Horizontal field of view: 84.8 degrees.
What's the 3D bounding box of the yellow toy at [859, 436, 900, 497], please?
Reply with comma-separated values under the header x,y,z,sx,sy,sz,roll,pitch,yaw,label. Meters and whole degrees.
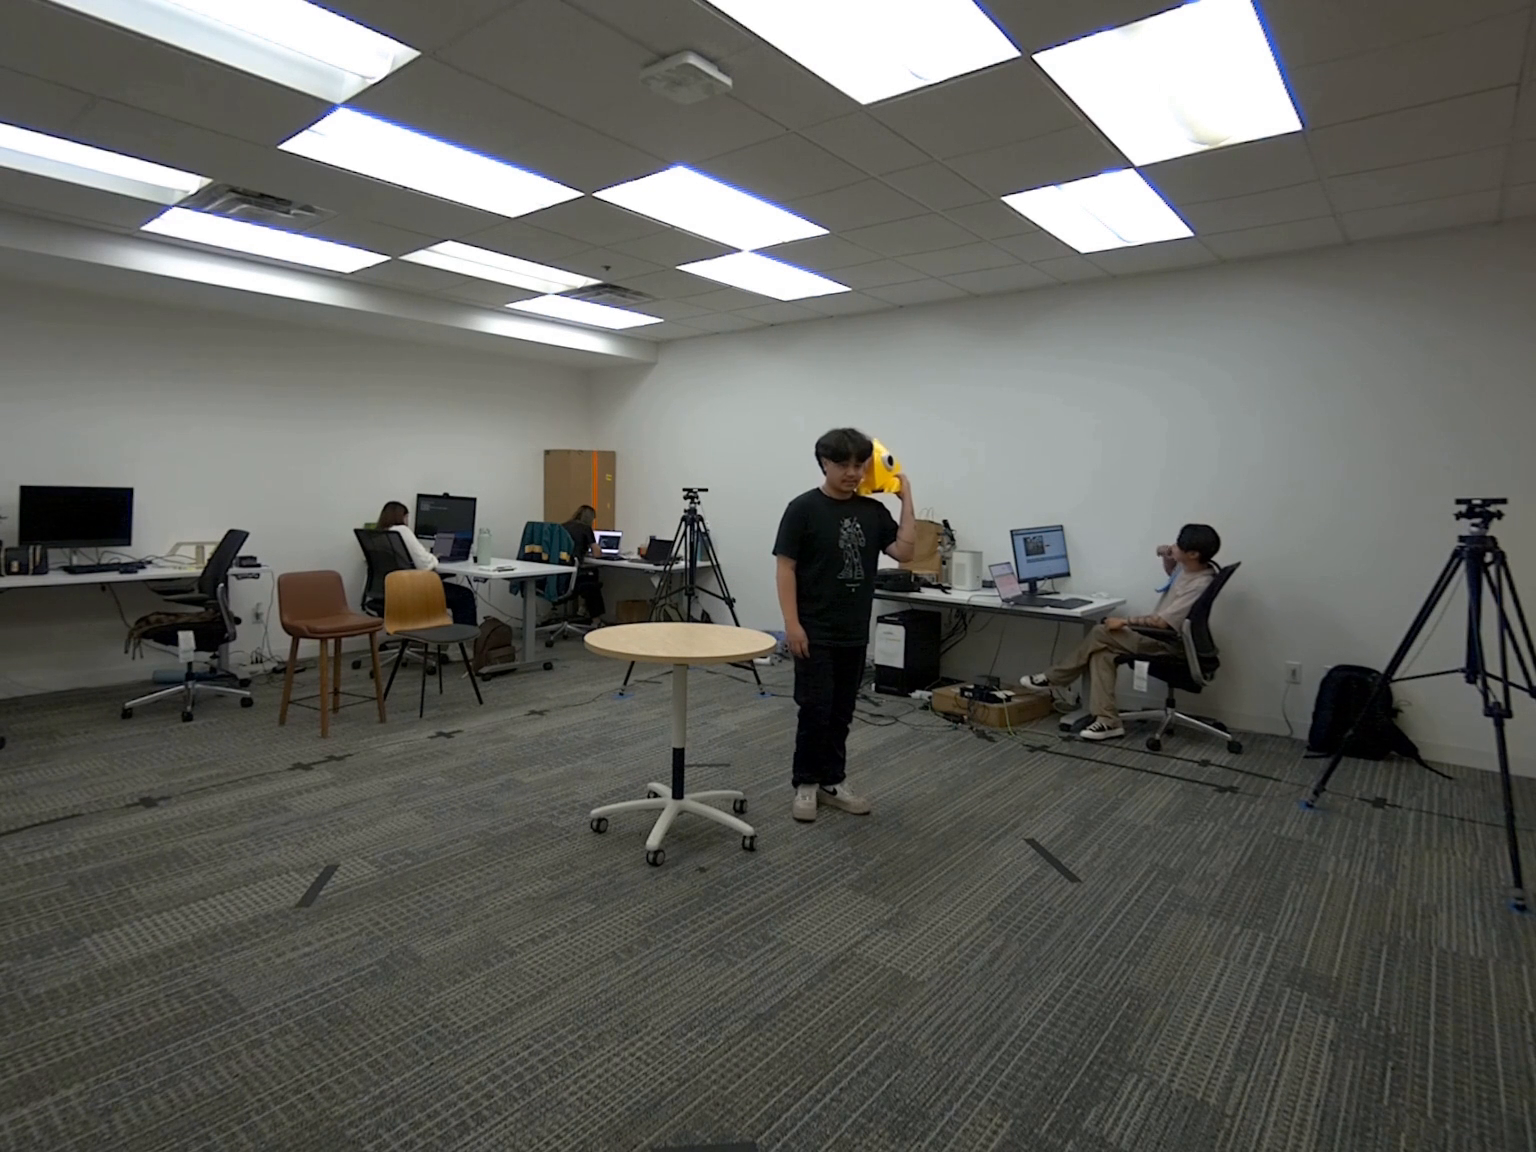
x,y,z,sx,sy,sz,roll,pitch,yaw,label
0.463,-0.488,3.736,0.207,0.228,0.193,-6,11,12,yellow toy
